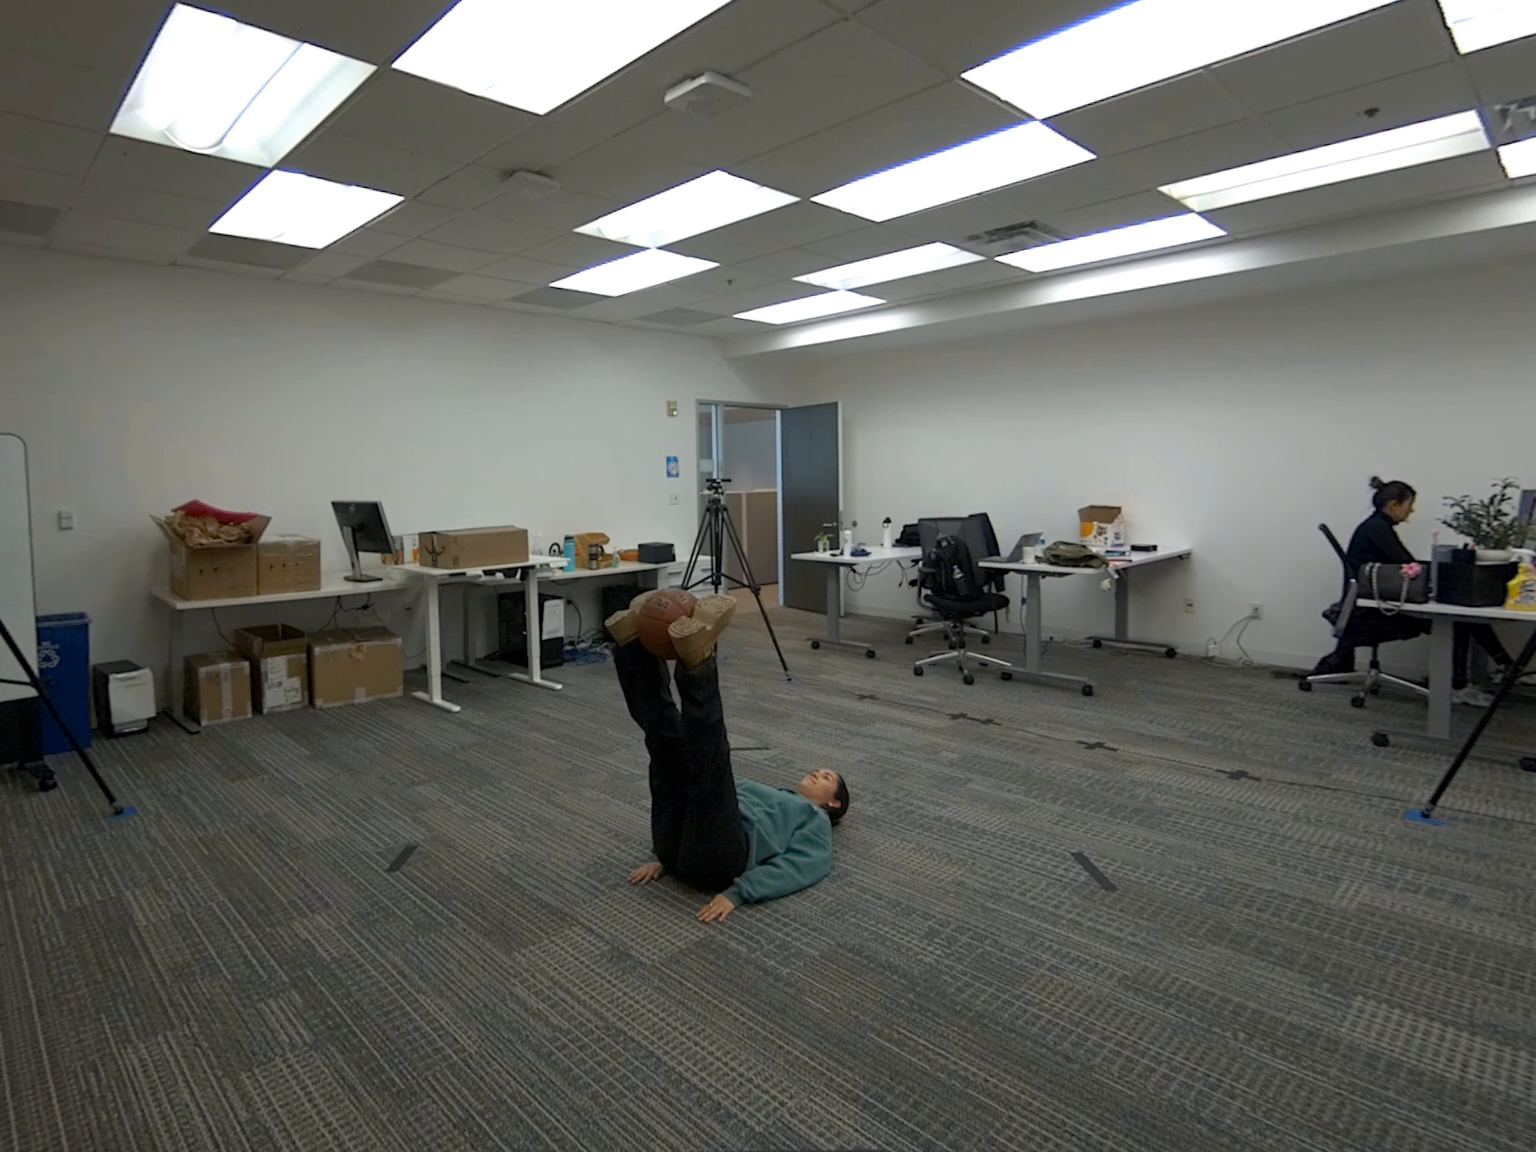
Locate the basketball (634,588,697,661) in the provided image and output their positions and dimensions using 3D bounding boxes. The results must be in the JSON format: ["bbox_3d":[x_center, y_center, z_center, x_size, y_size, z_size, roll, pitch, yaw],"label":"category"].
[{"bbox_3d":[-0.323,0.160,2.821,0.236,0.235,0.237,-1,4,-2],"label":"basketball"}]
